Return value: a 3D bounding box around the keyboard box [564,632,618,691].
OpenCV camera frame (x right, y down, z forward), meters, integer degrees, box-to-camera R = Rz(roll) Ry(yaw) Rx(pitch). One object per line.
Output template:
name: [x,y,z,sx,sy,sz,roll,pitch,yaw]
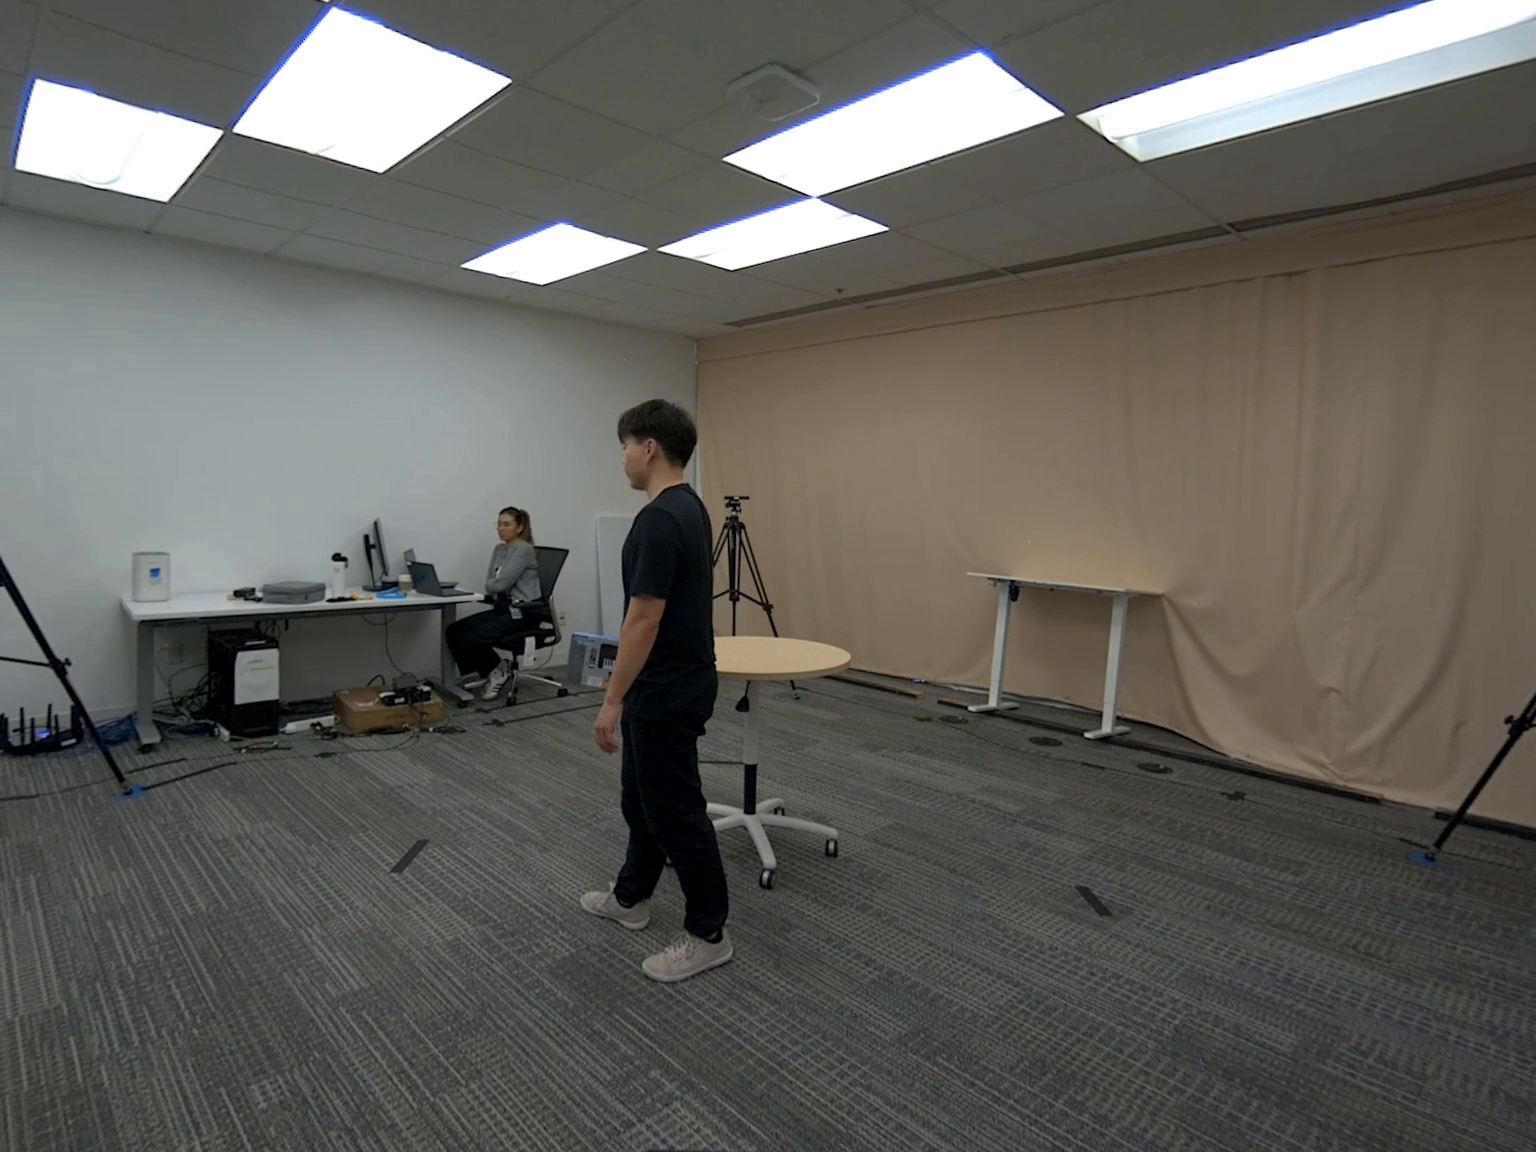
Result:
keyboard box: [-0.476,0.308,2.865,0.438,0.176,0.059,9,1,3]
